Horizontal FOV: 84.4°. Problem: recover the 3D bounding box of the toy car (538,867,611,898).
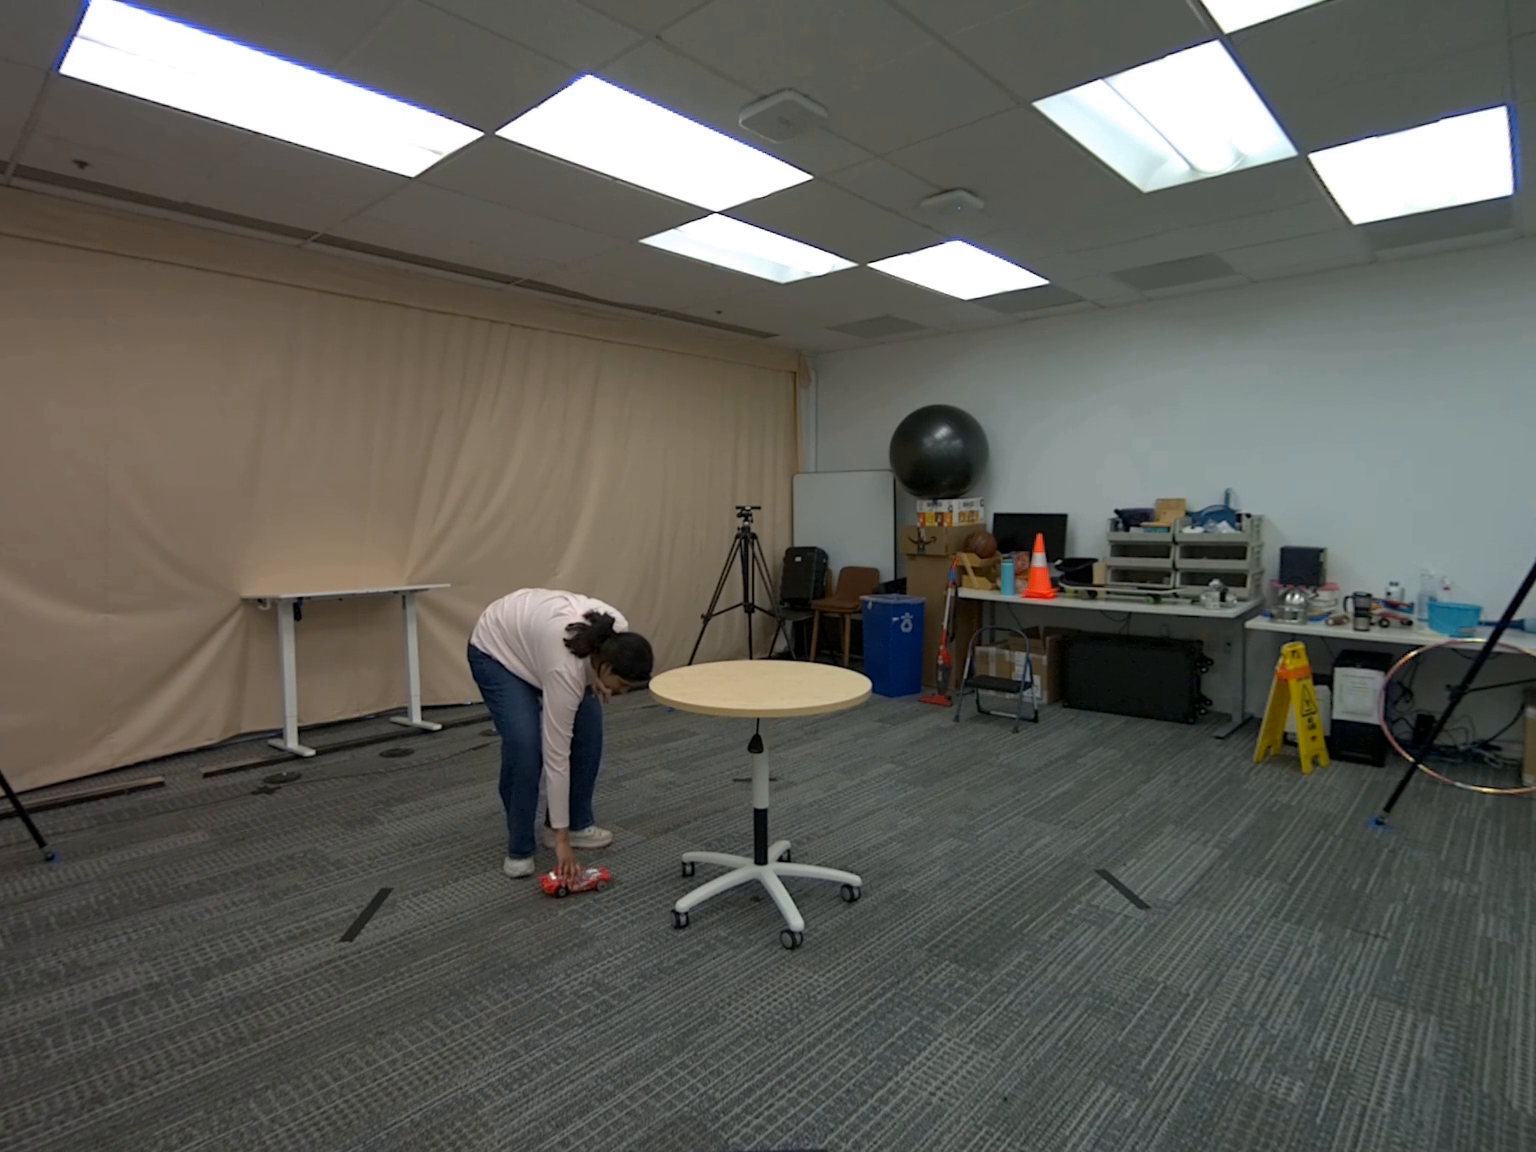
[{"bbox_3d":[-0.714,1.112,3.066,0.249,0.083,0.133,9,1,-20],"label":"toy car"}]
